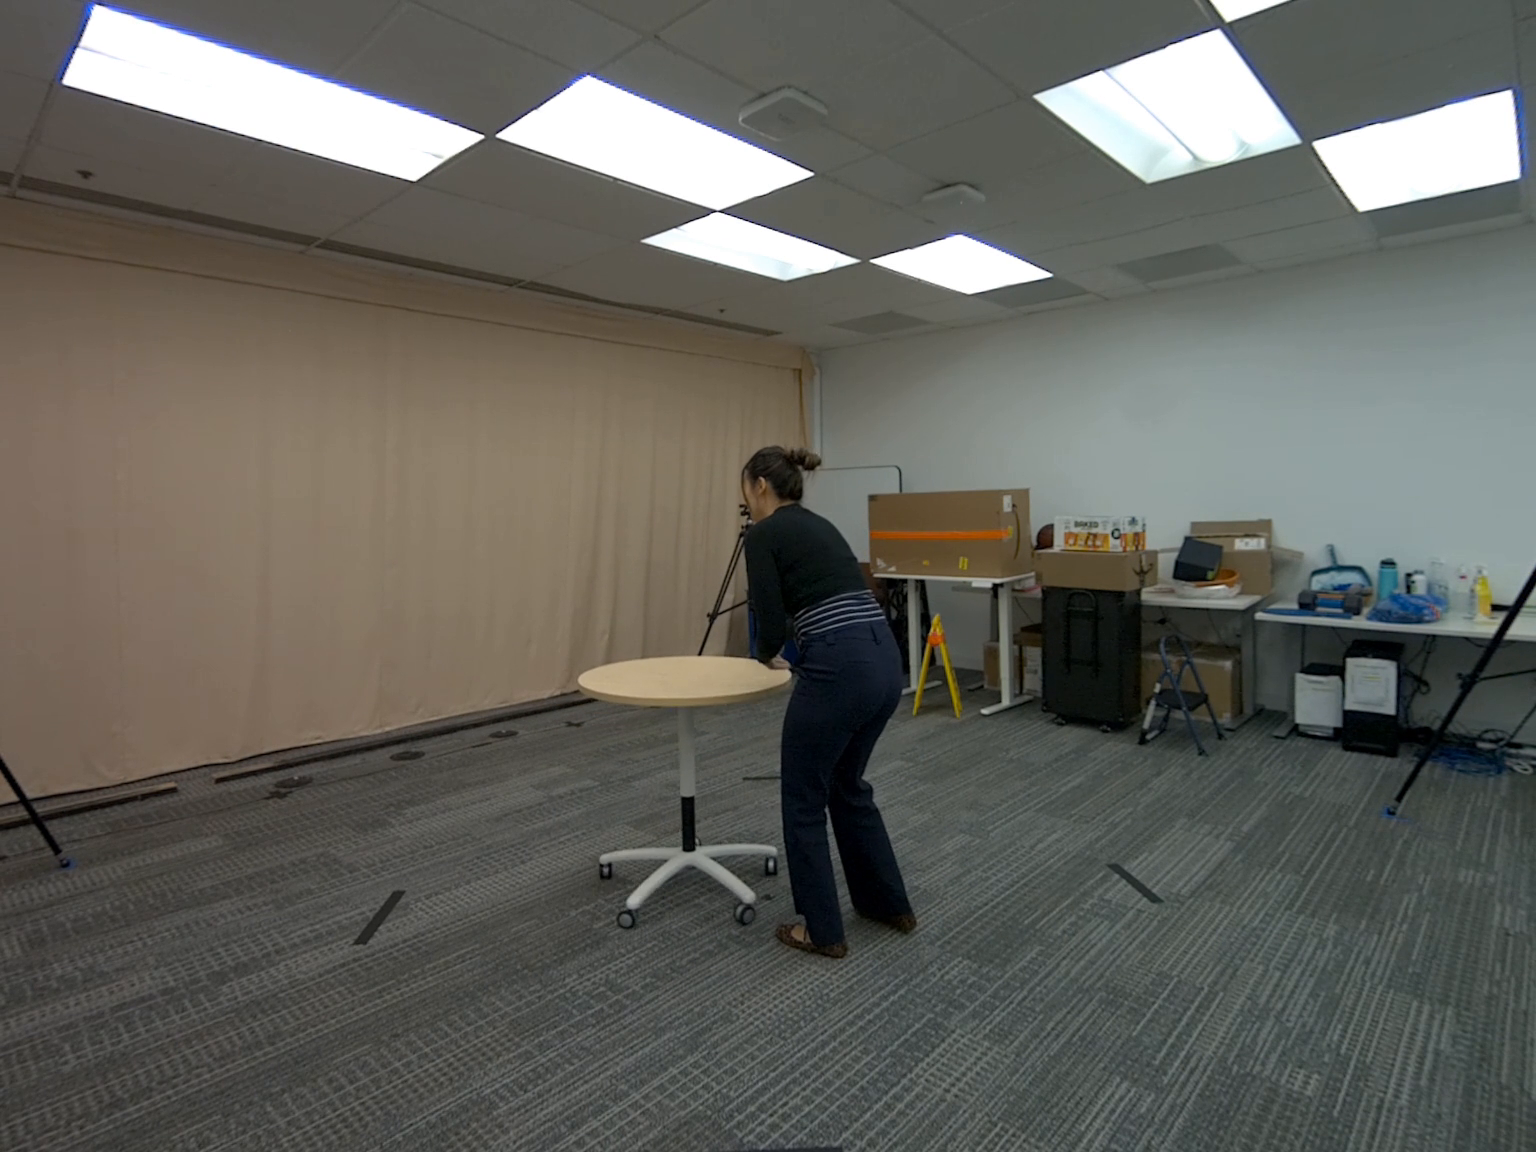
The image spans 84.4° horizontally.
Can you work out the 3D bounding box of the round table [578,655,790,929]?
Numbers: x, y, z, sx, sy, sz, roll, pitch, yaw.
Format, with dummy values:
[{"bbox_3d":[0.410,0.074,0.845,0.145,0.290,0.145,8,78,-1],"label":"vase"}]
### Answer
[{"bbox_3d":[-0.289,0.749,3.057,0.763,0.792,0.766,-1,4,-2],"label":"round table"}]
